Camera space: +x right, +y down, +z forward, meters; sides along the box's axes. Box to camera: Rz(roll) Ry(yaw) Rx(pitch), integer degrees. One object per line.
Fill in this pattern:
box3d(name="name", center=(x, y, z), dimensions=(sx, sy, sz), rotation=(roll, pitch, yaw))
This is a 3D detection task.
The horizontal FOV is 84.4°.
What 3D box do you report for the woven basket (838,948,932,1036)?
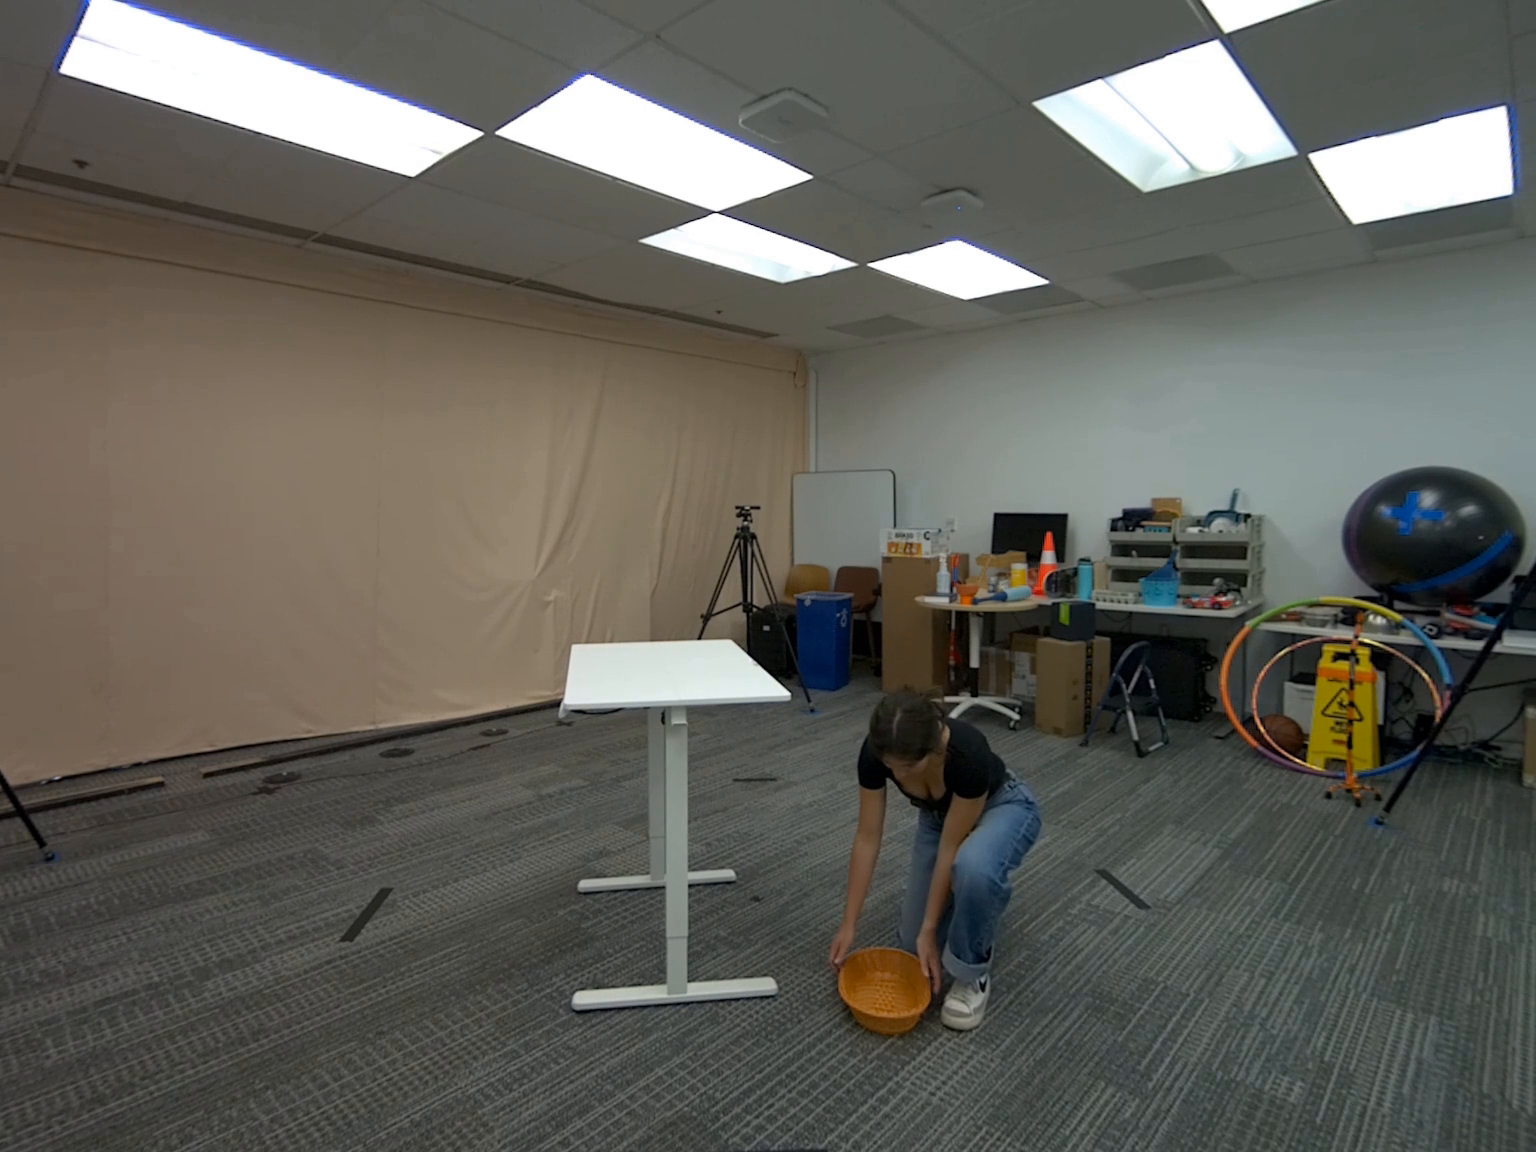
box3d(name="woven basket", center=(0.324, 1.158, 2.354), dimensions=(0.256, 0.073, 0.346), rotation=(0, 4, 12))
